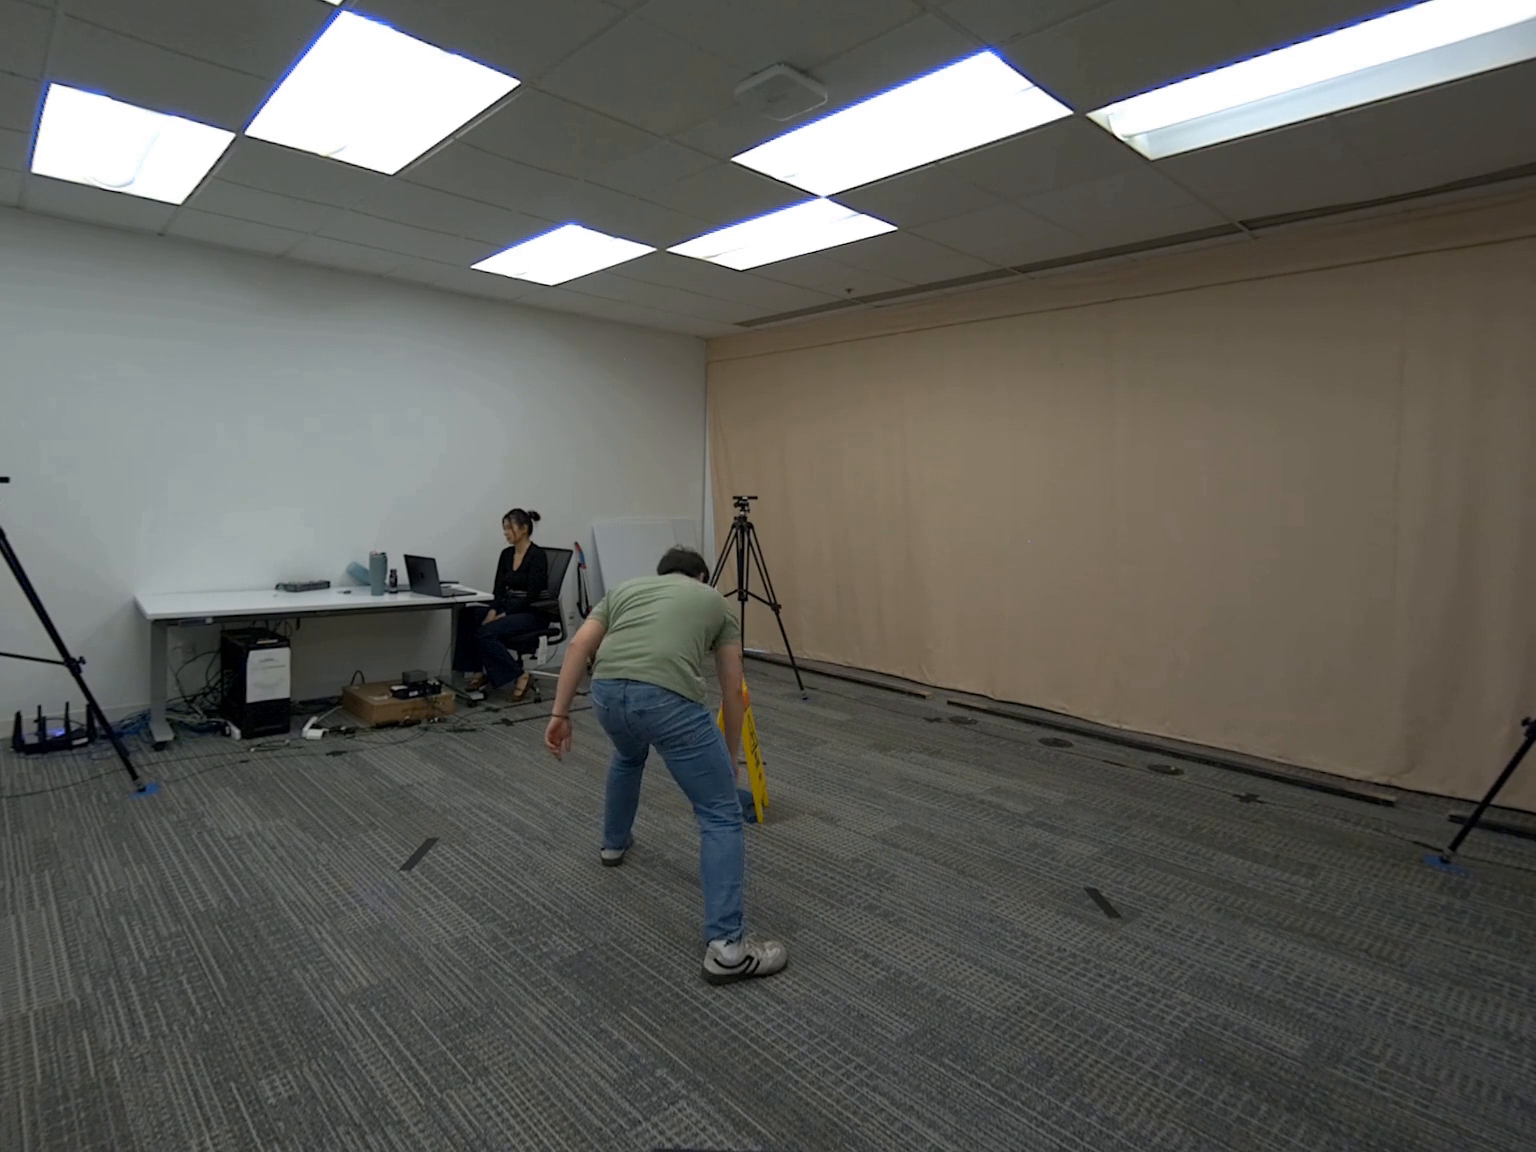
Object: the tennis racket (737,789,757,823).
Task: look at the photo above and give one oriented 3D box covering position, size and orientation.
[{"bbox_3d":[-0.148,1.030,3.813,0.210,0.032,0.440,0,4,-21],"label":"tennis racket"}]
